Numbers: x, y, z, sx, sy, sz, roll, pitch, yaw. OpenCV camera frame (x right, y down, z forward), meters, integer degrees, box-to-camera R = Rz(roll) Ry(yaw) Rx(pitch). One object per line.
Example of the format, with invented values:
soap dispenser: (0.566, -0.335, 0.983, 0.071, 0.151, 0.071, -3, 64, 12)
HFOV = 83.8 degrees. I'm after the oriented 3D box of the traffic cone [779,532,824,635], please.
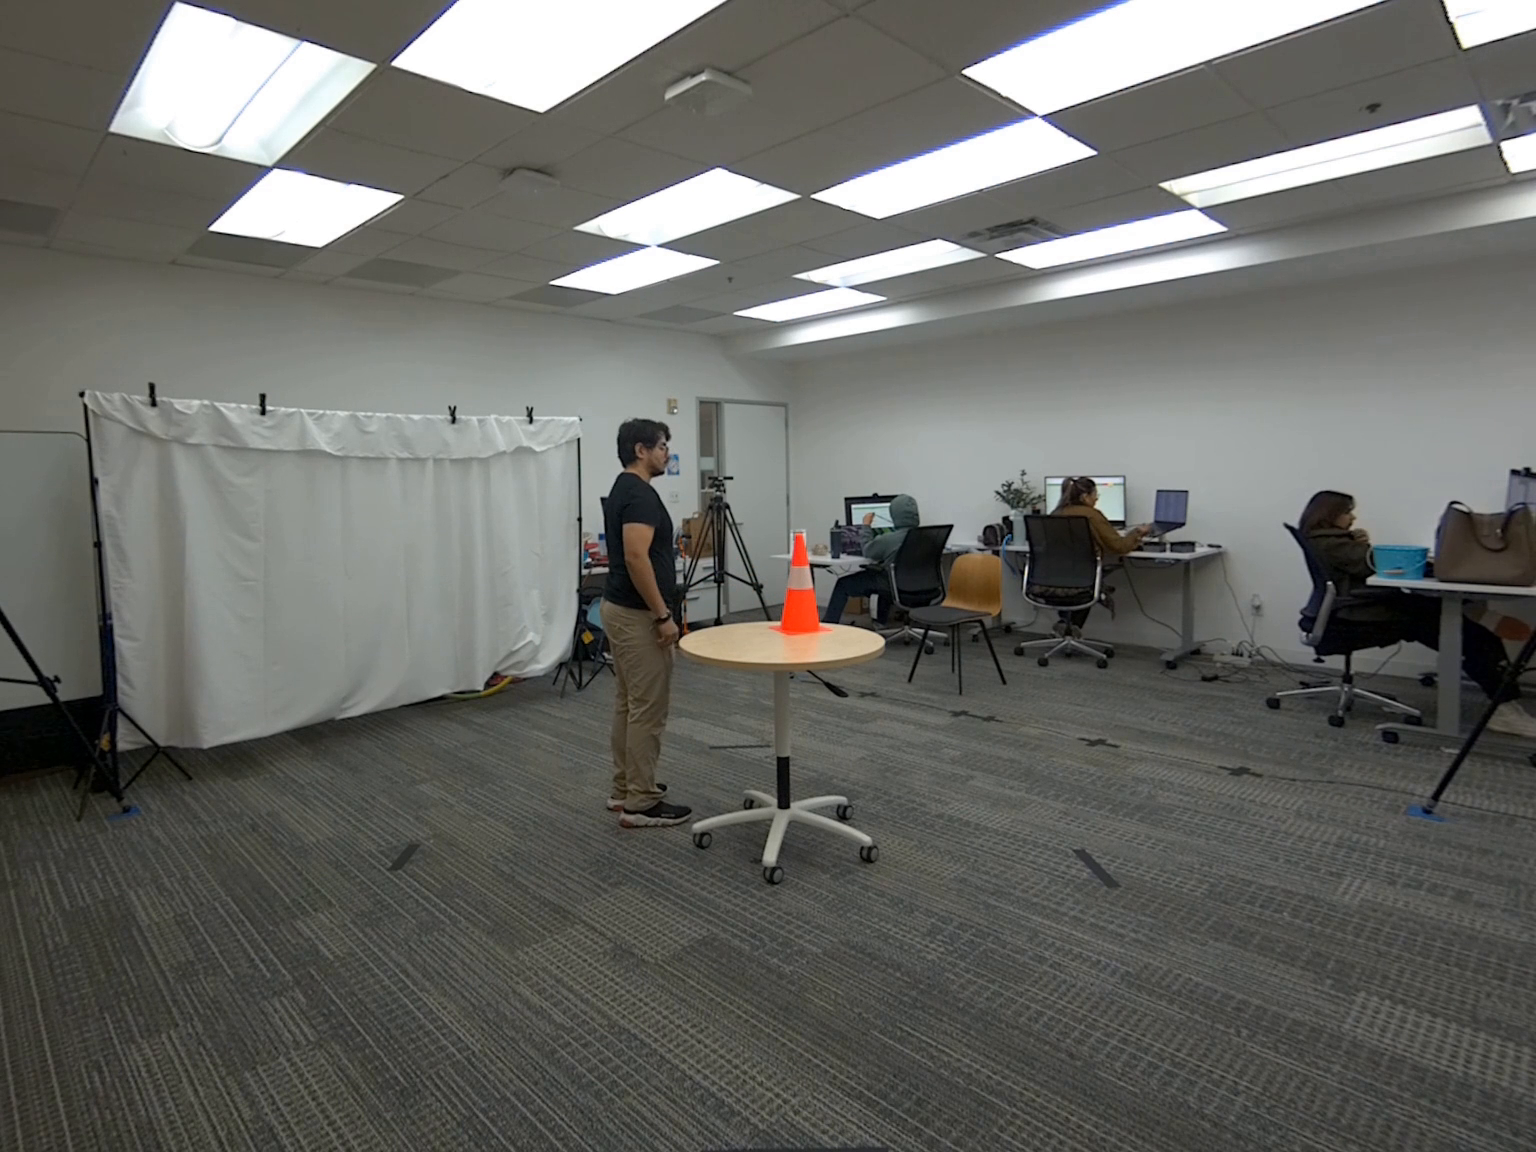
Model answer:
traffic cone: (0.119, 0.026, 3.394, 0.200, 0.382, 0.209, -6, 7, -32)
